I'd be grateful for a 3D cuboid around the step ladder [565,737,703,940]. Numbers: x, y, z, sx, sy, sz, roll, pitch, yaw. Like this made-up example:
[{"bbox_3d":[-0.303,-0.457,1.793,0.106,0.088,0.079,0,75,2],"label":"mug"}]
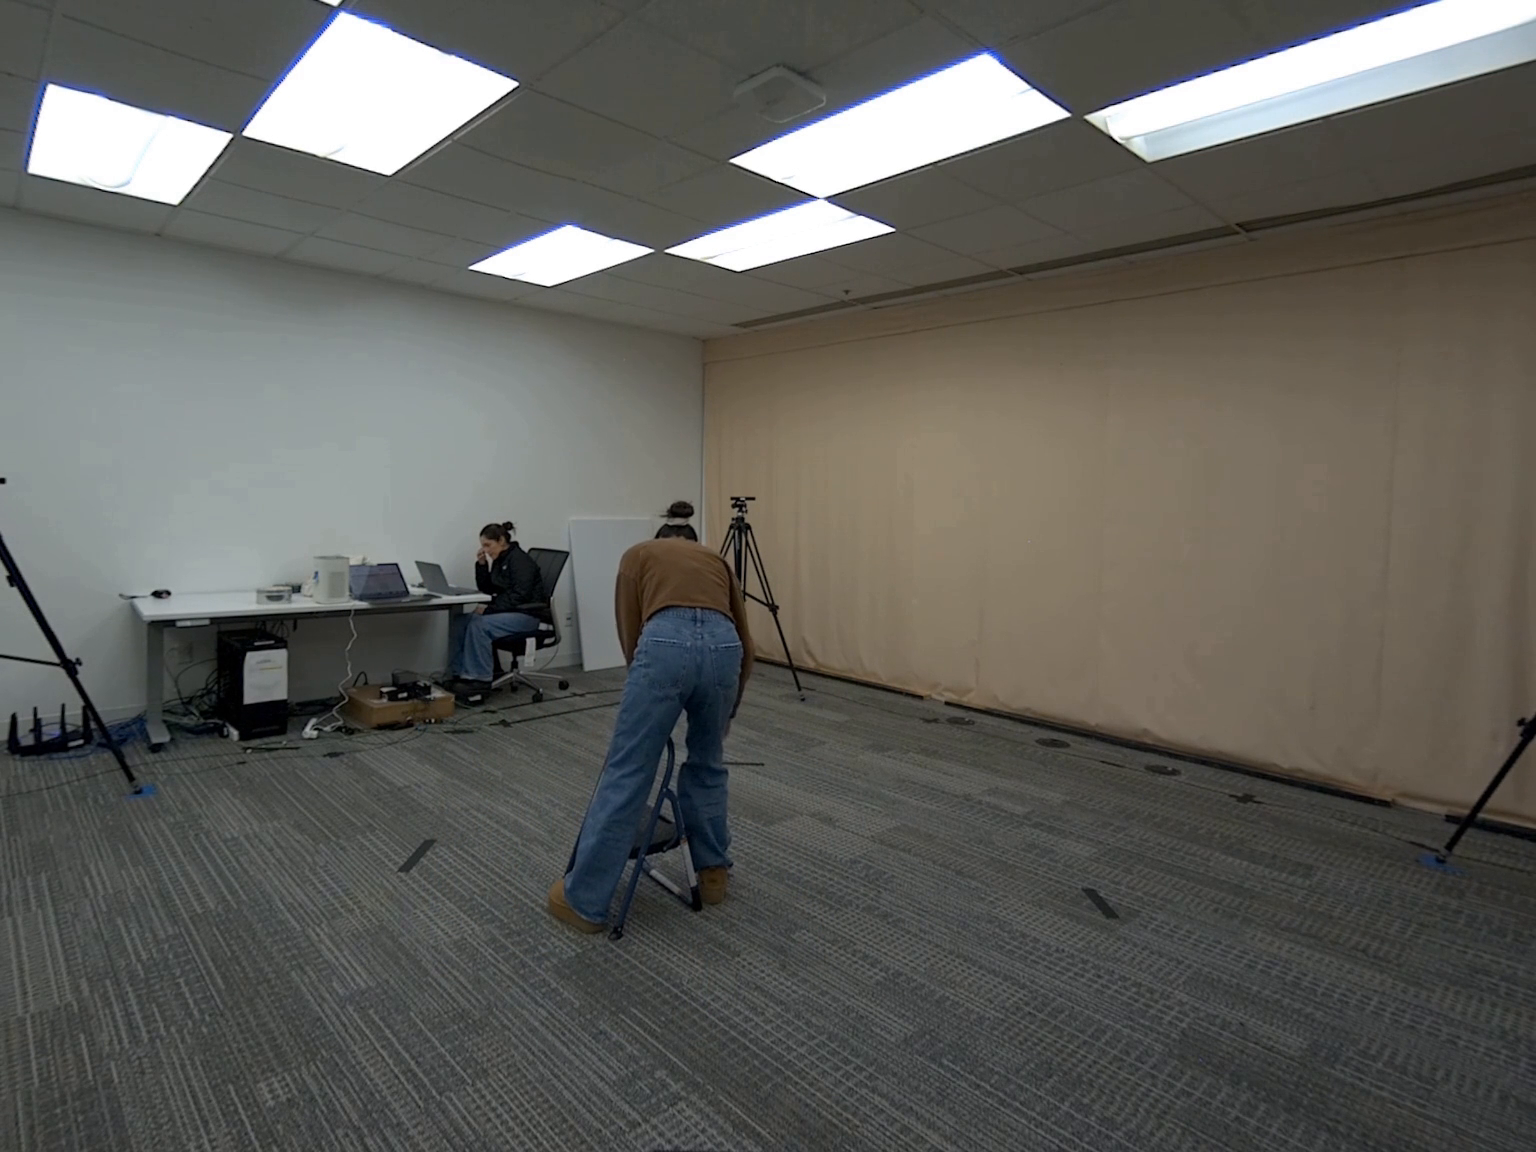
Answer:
[{"bbox_3d":[-0.474,0.820,2.891,0.341,0.604,0.441,-1,5,-37],"label":"step ladder"}]
